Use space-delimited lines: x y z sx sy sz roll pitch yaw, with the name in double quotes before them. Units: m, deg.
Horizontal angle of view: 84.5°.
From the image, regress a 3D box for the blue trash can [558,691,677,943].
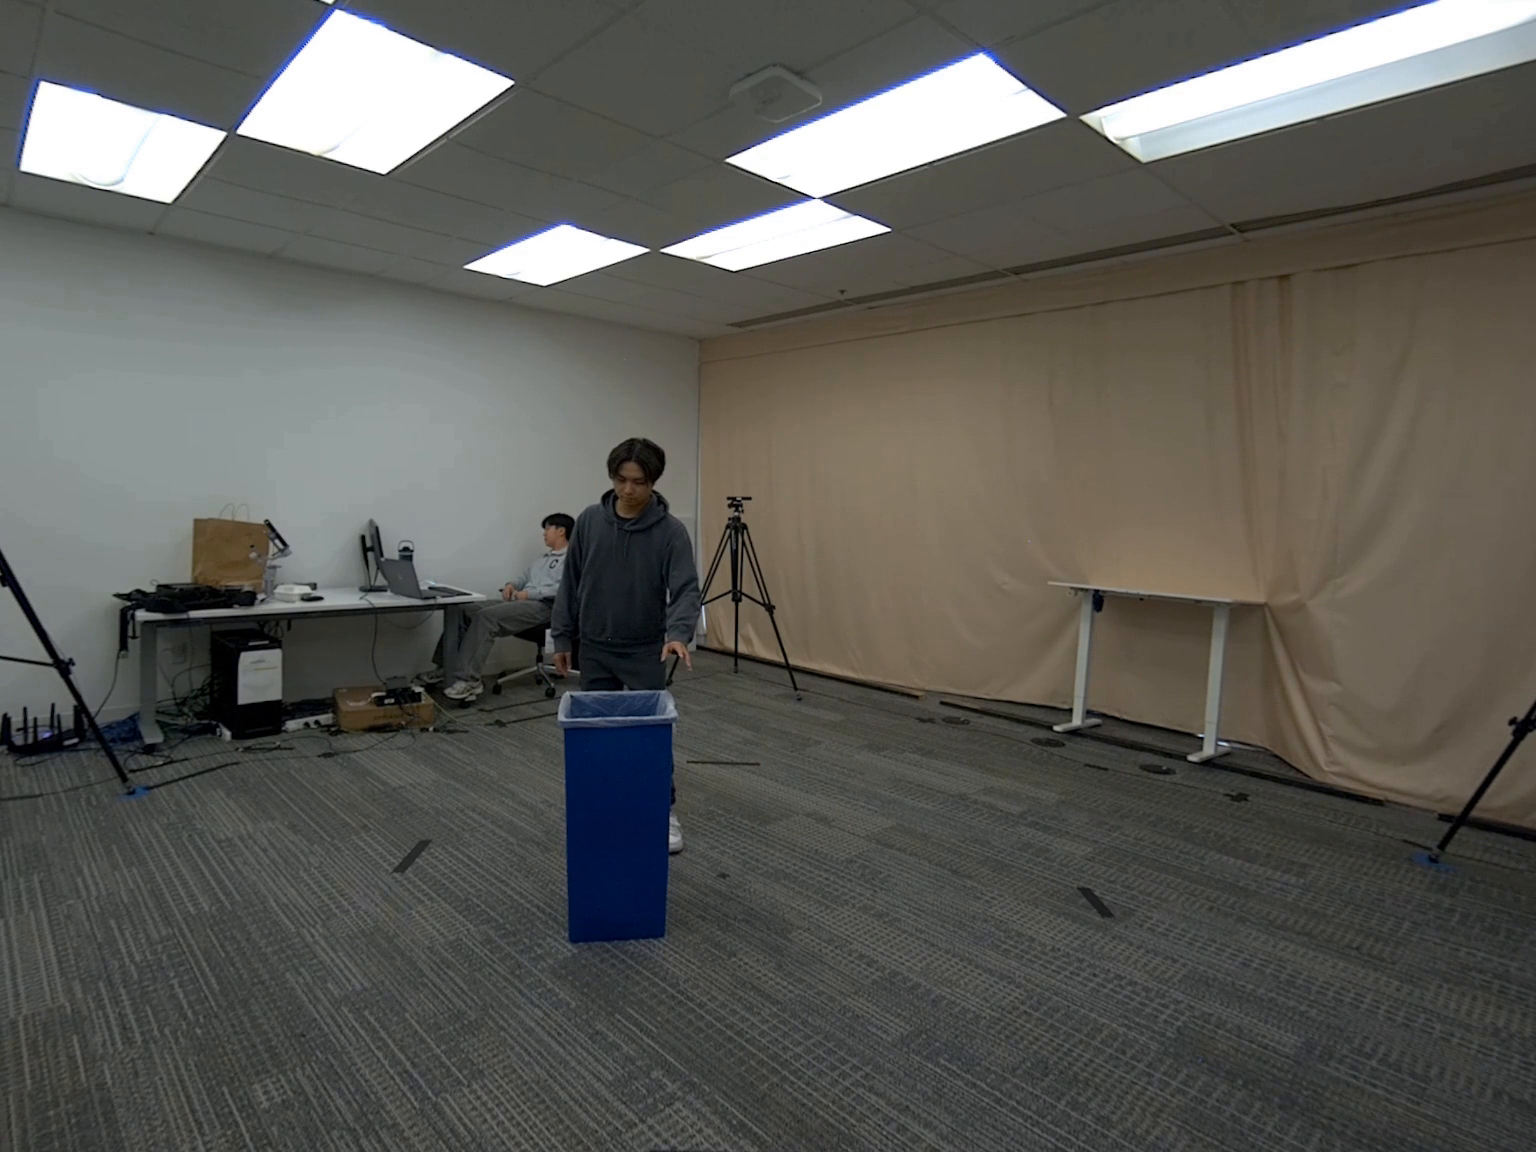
"blue trash can" -0.504 0.772 2.757 0.371 0.712 0.382 1 3 -10
